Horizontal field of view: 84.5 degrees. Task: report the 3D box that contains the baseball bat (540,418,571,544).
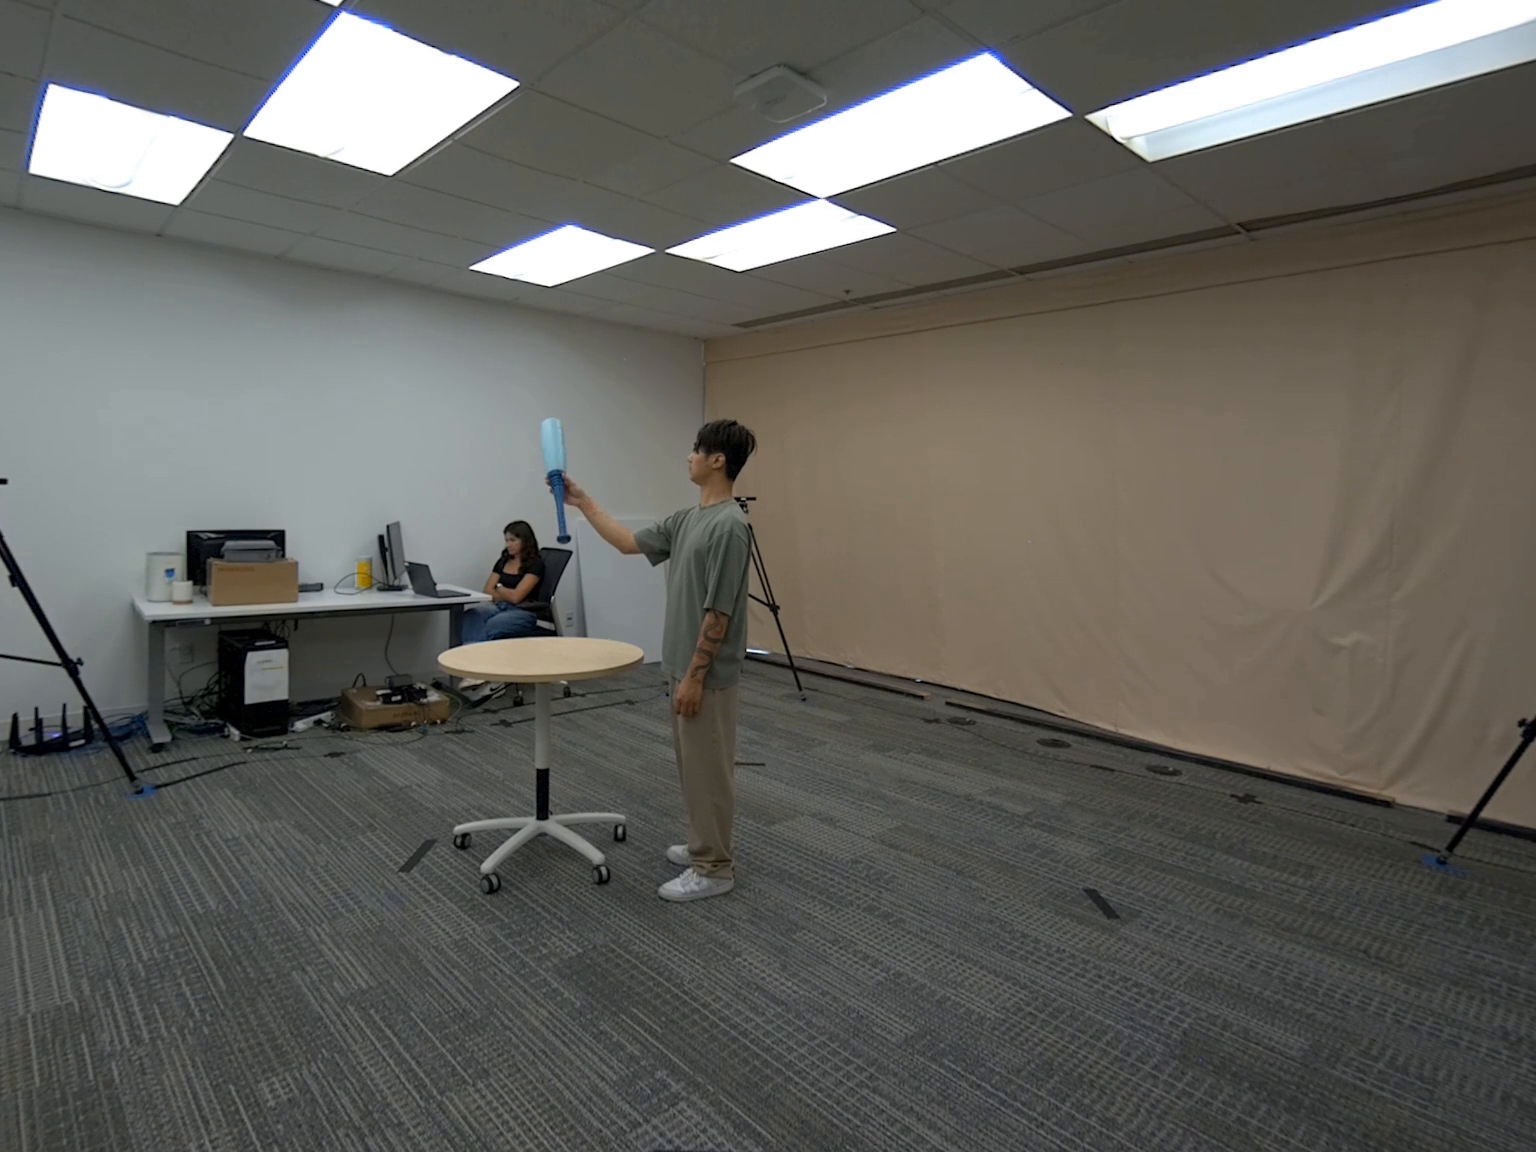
[{"bbox_3d":[-0.785,-0.353,3.100,0.089,0.555,0.087,-8,-30,-6],"label":"baseball bat"}]
